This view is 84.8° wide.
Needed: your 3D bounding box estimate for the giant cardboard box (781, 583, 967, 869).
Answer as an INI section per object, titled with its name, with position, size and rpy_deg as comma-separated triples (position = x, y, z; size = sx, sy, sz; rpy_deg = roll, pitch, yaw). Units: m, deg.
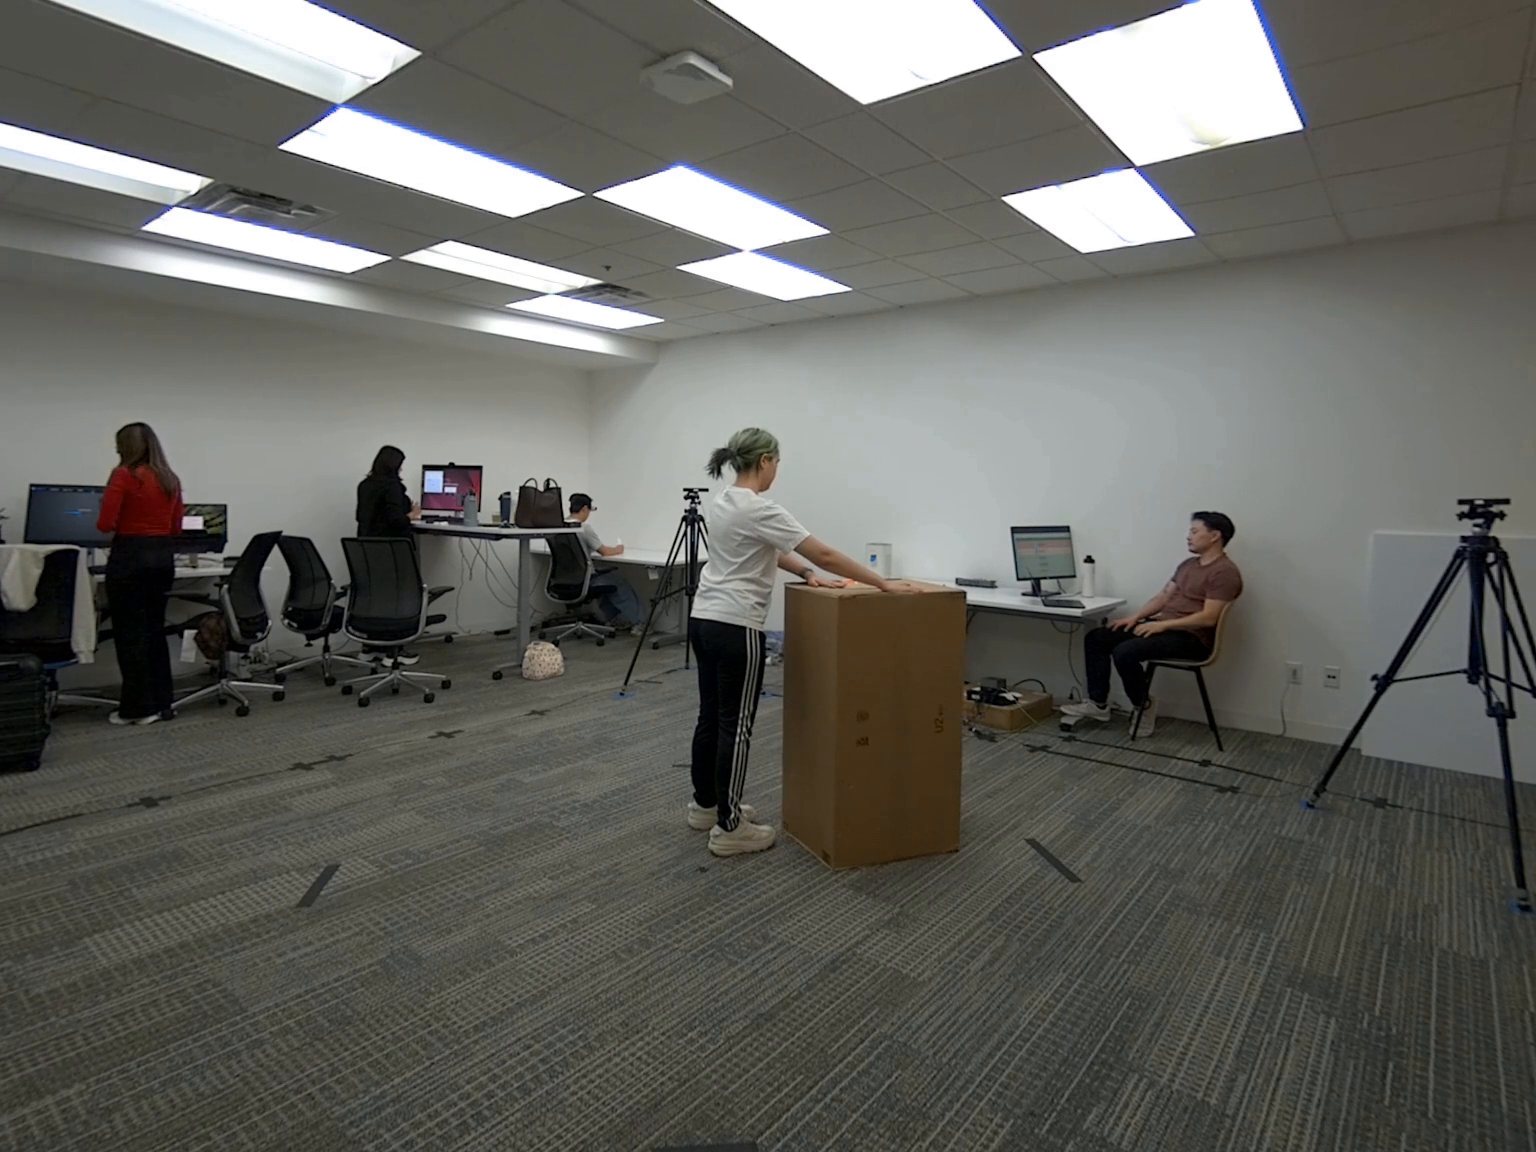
[giant cardboard box]
position = 0.407, 0.553, 3.383
size = 0.570, 1.023, 0.459
rpy_deg = -1, 5, -25
